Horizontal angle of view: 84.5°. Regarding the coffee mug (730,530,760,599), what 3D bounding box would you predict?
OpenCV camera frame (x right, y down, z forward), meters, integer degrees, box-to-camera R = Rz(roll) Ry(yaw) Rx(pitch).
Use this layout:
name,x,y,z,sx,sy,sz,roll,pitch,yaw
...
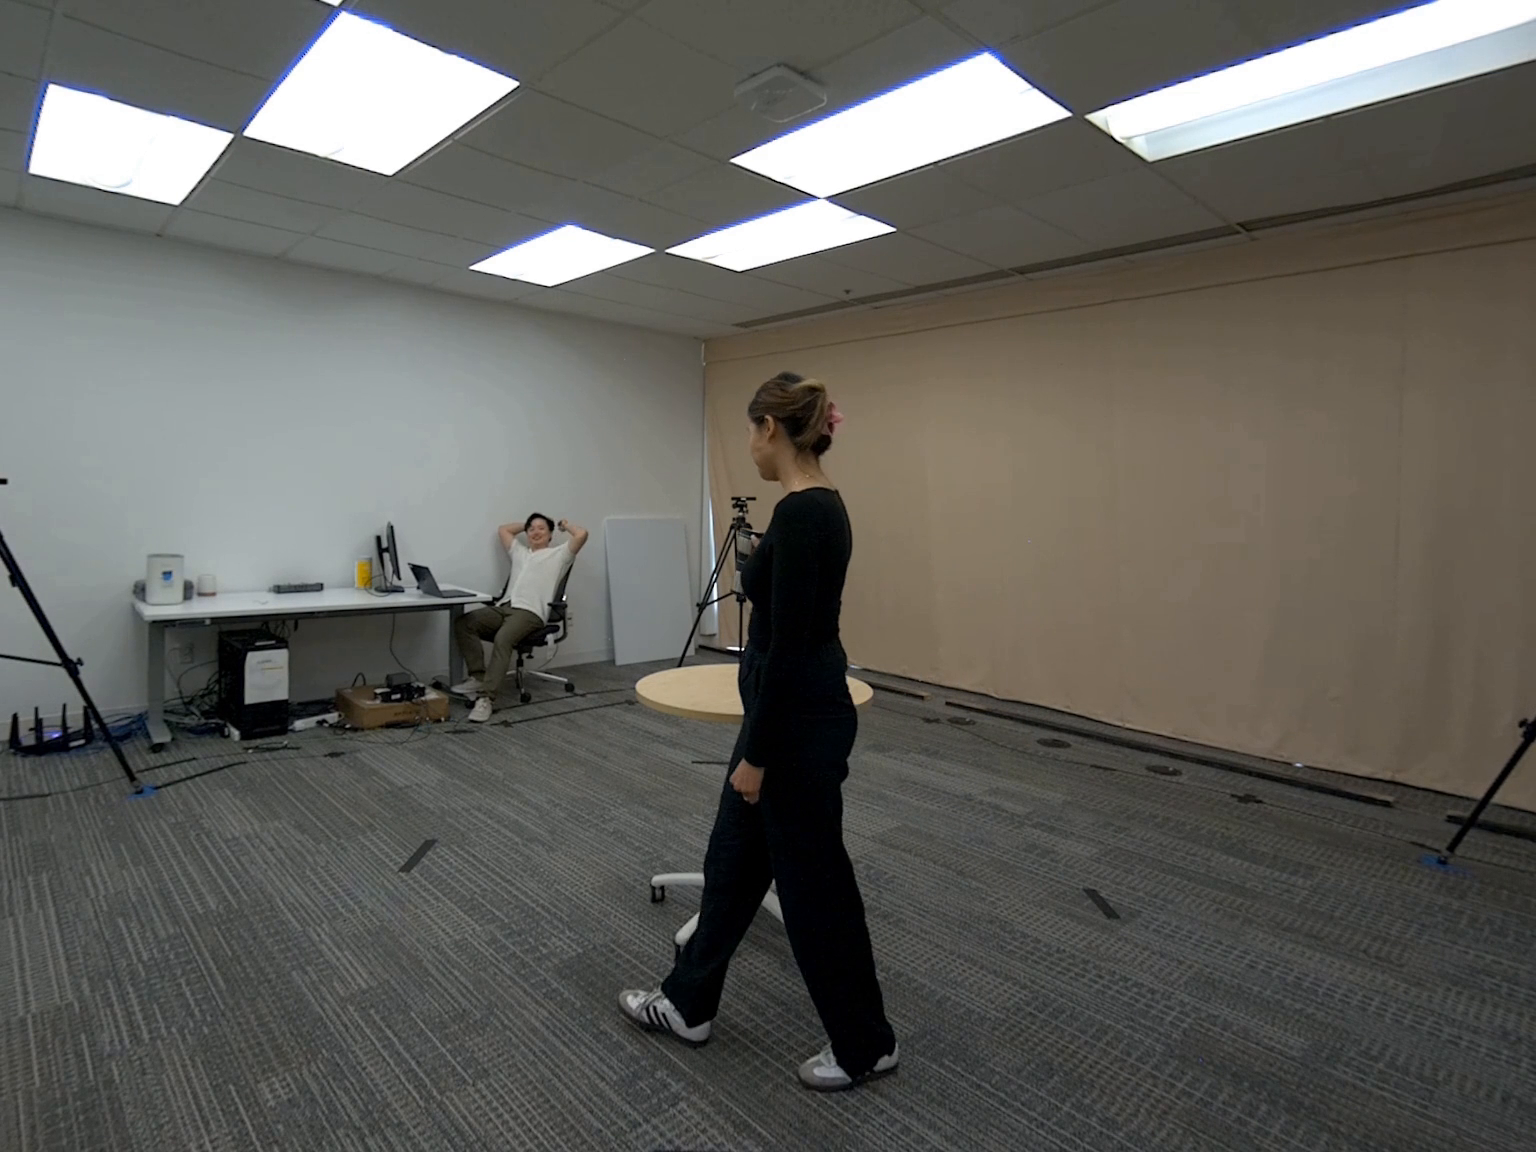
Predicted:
name,x,y,z,sx,sy,sz,roll,pitch,yaw
coffee mug,-0.089,-0.035,2.535,0.119,0.202,0.090,4,15,-46
